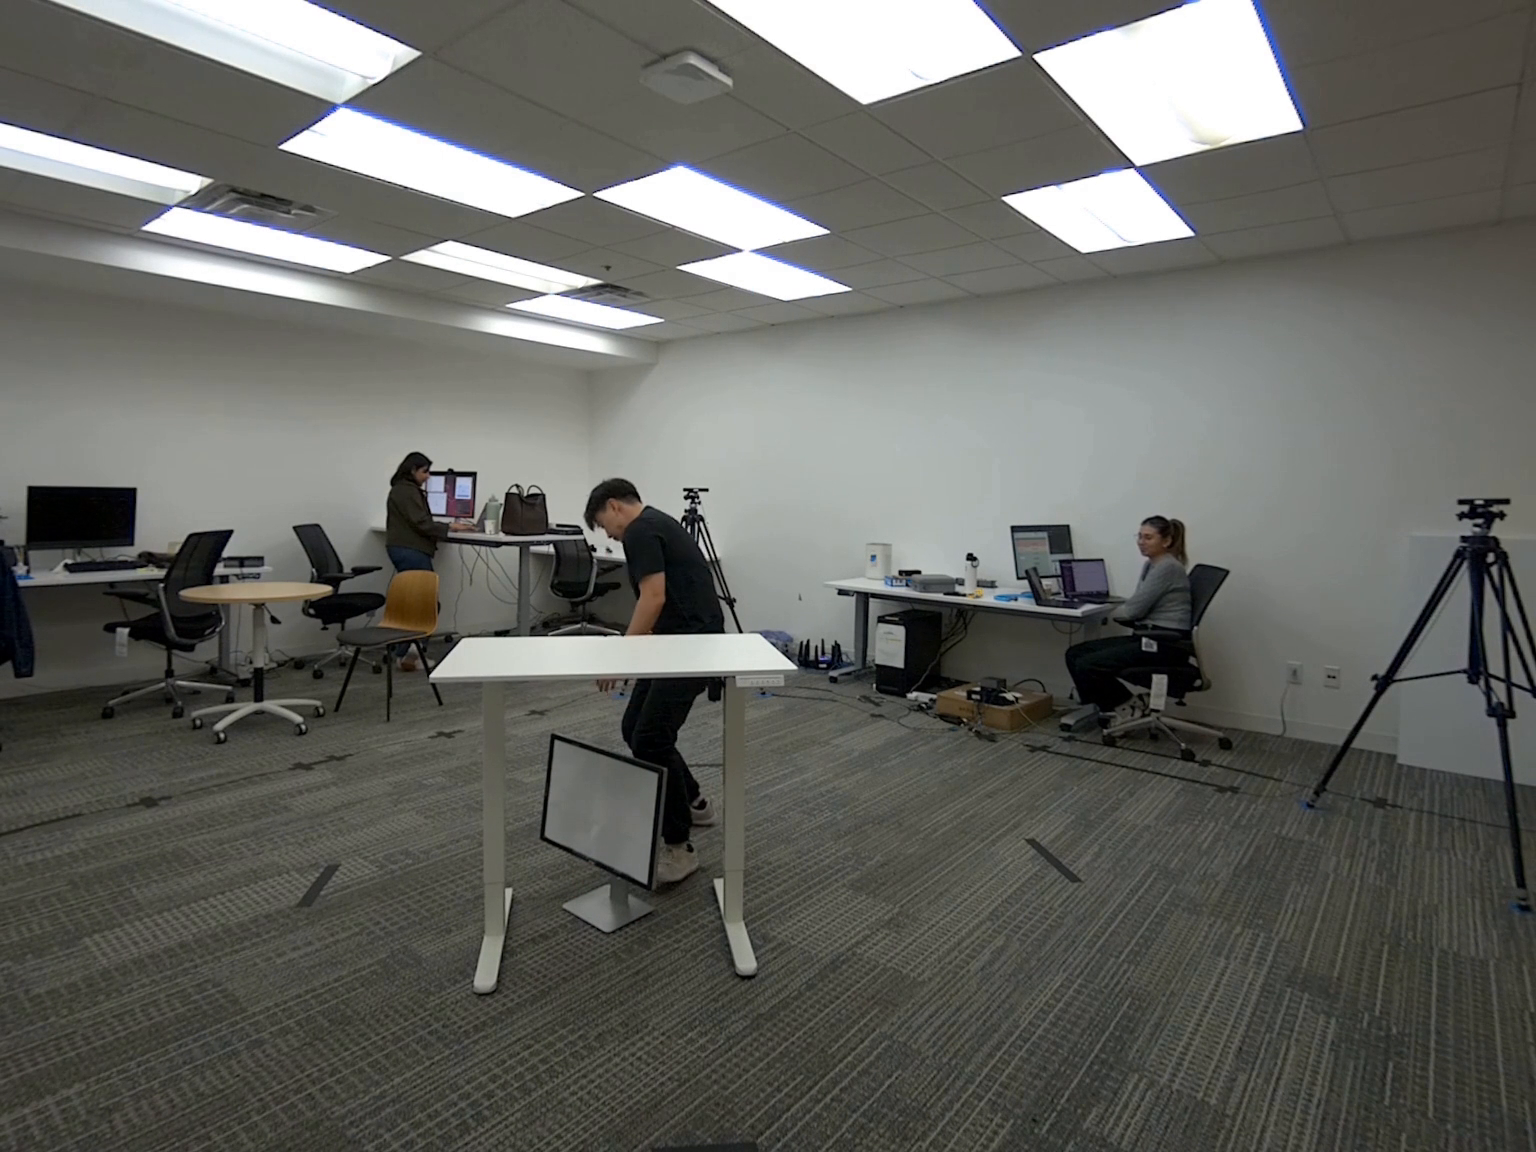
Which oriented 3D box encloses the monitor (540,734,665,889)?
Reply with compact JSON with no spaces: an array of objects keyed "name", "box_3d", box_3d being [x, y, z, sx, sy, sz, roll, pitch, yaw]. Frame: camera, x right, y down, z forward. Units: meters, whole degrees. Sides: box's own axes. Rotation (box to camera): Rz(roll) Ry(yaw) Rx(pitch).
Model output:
[{"name":"monitor","box_3d":[-0.533,0.830,2.777,0.557,0.520,0.182,3,7,40]}]
